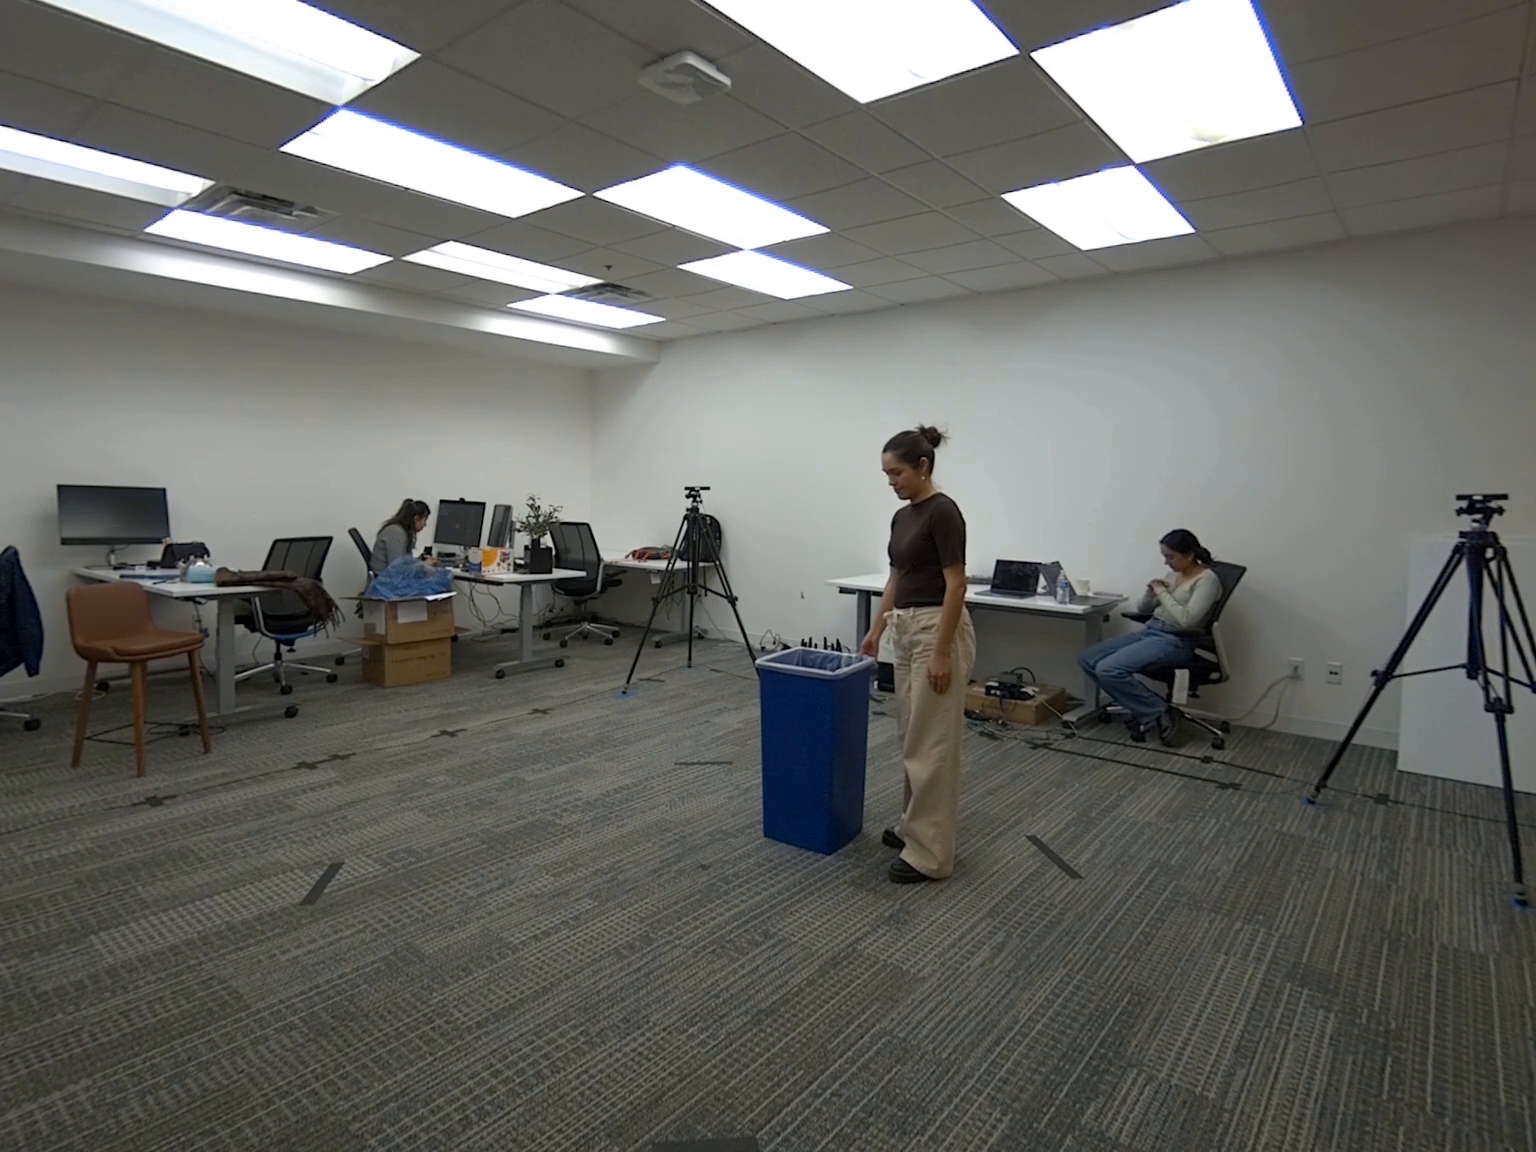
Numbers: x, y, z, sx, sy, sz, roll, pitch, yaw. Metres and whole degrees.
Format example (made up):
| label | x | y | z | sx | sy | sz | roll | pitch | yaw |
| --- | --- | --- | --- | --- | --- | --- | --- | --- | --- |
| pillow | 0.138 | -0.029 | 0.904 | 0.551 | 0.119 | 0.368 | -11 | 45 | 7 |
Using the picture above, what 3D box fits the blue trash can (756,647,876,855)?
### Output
| label | x | y | z | sx | sy | sz | roll | pitch | yaw |
| --- | --- | --- | --- | --- | --- | --- | --- | --- | --- |
| blue trash can | 0.178 | 0.682 | 3.408 | 0.390 | 0.711 | 0.364 | 2 | 4 | 33 |
